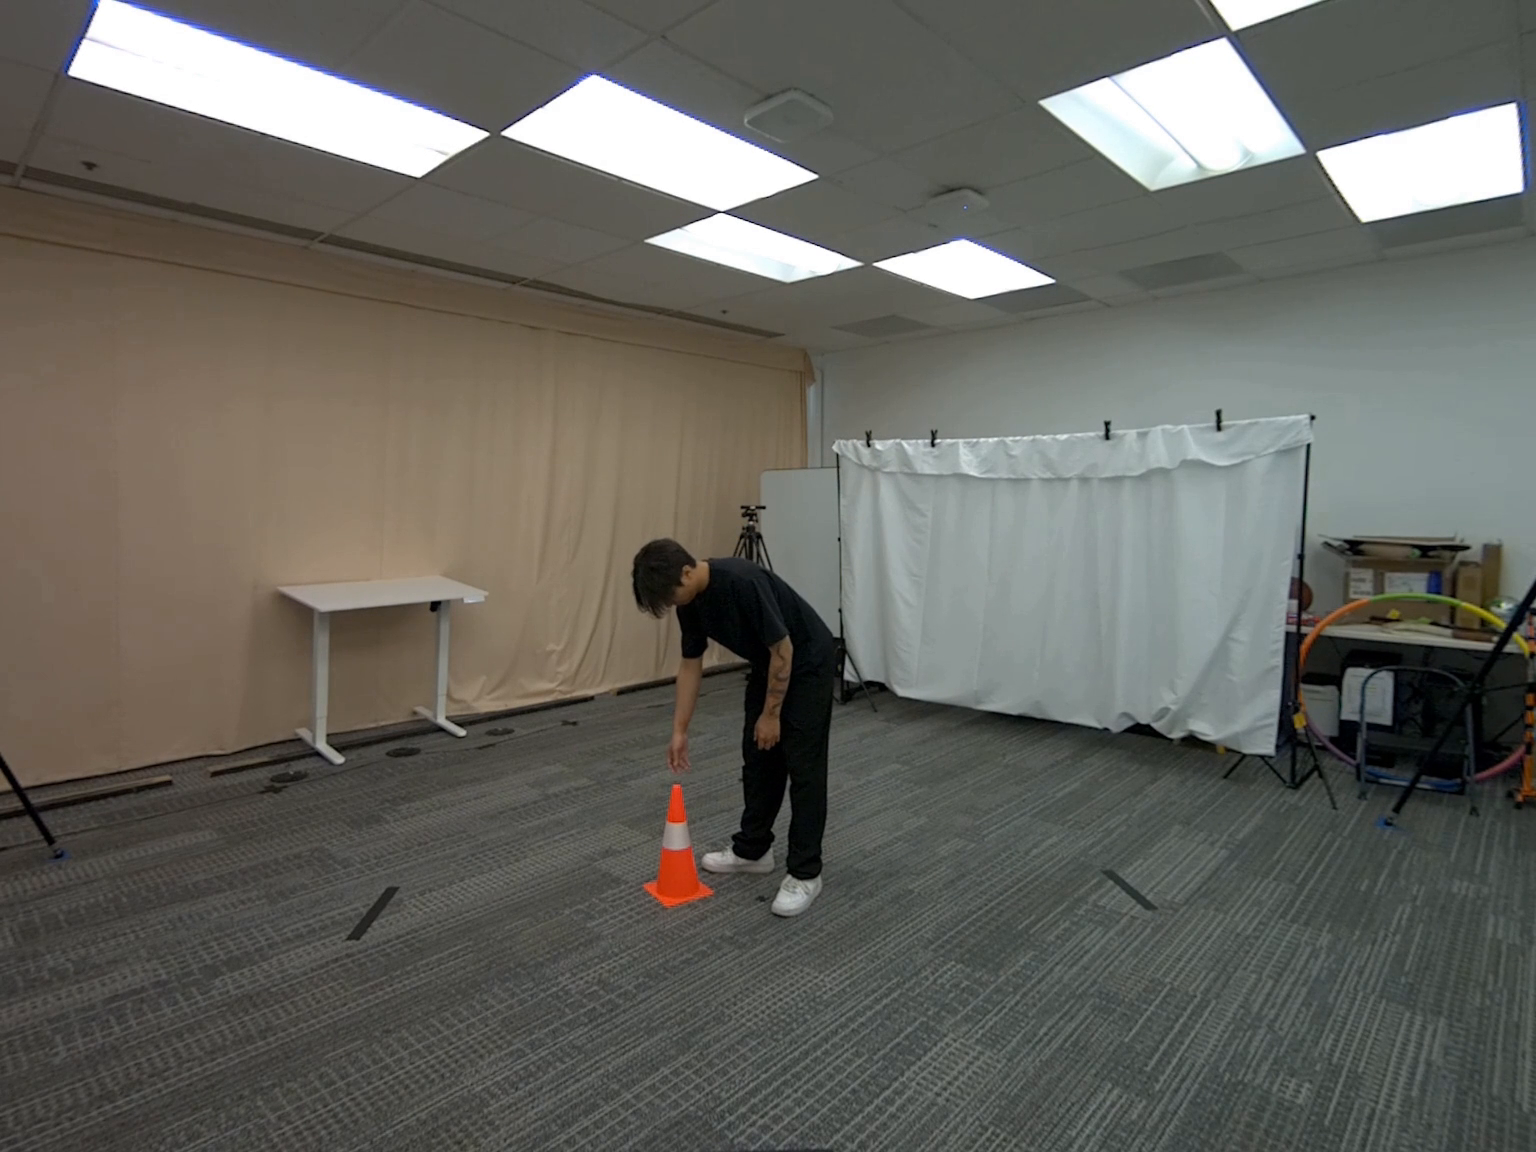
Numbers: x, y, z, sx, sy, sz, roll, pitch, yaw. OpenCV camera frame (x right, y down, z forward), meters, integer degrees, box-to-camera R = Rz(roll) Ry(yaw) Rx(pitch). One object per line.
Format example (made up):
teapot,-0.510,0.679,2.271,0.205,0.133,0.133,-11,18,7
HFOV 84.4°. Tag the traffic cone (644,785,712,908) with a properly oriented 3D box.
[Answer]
traffic cone,-0.329,0.962,3.061,0.197,0.383,0.211,-1,1,-35
